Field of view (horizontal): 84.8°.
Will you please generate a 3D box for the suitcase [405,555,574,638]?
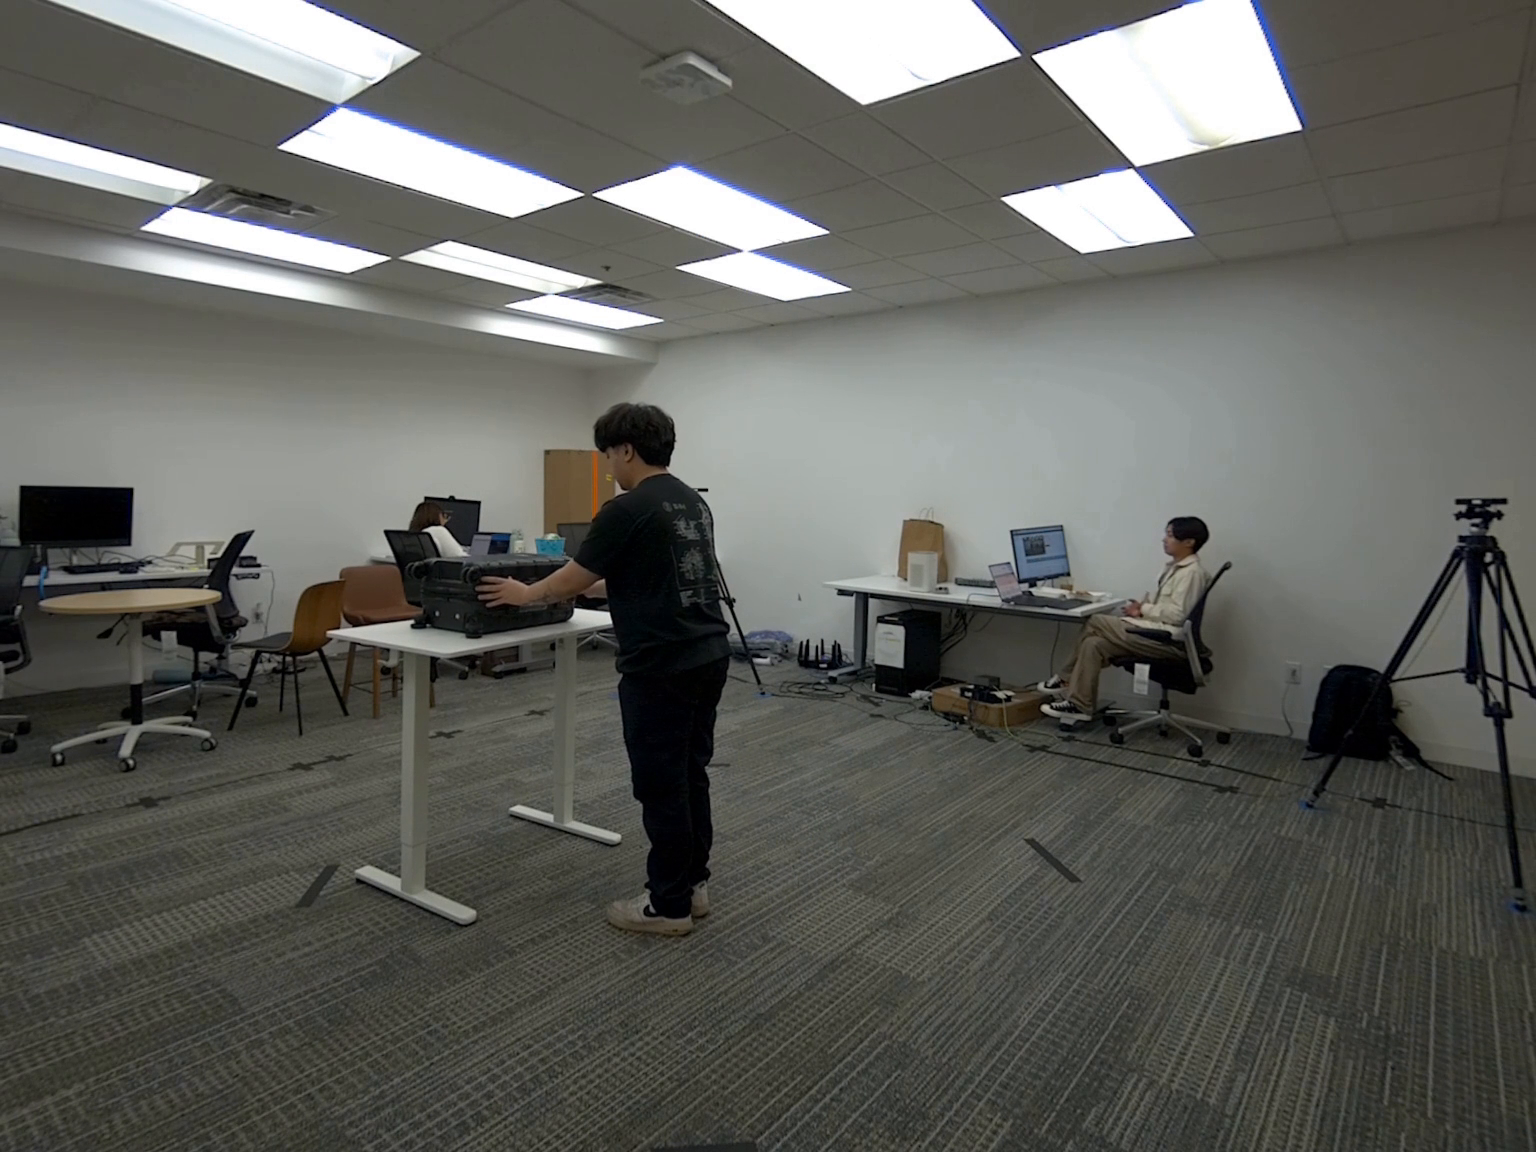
[{"bbox_3d":[-1.001,0.058,3.112,0.387,0.247,0.535,3,6,32],"label":"suitcase"}]
